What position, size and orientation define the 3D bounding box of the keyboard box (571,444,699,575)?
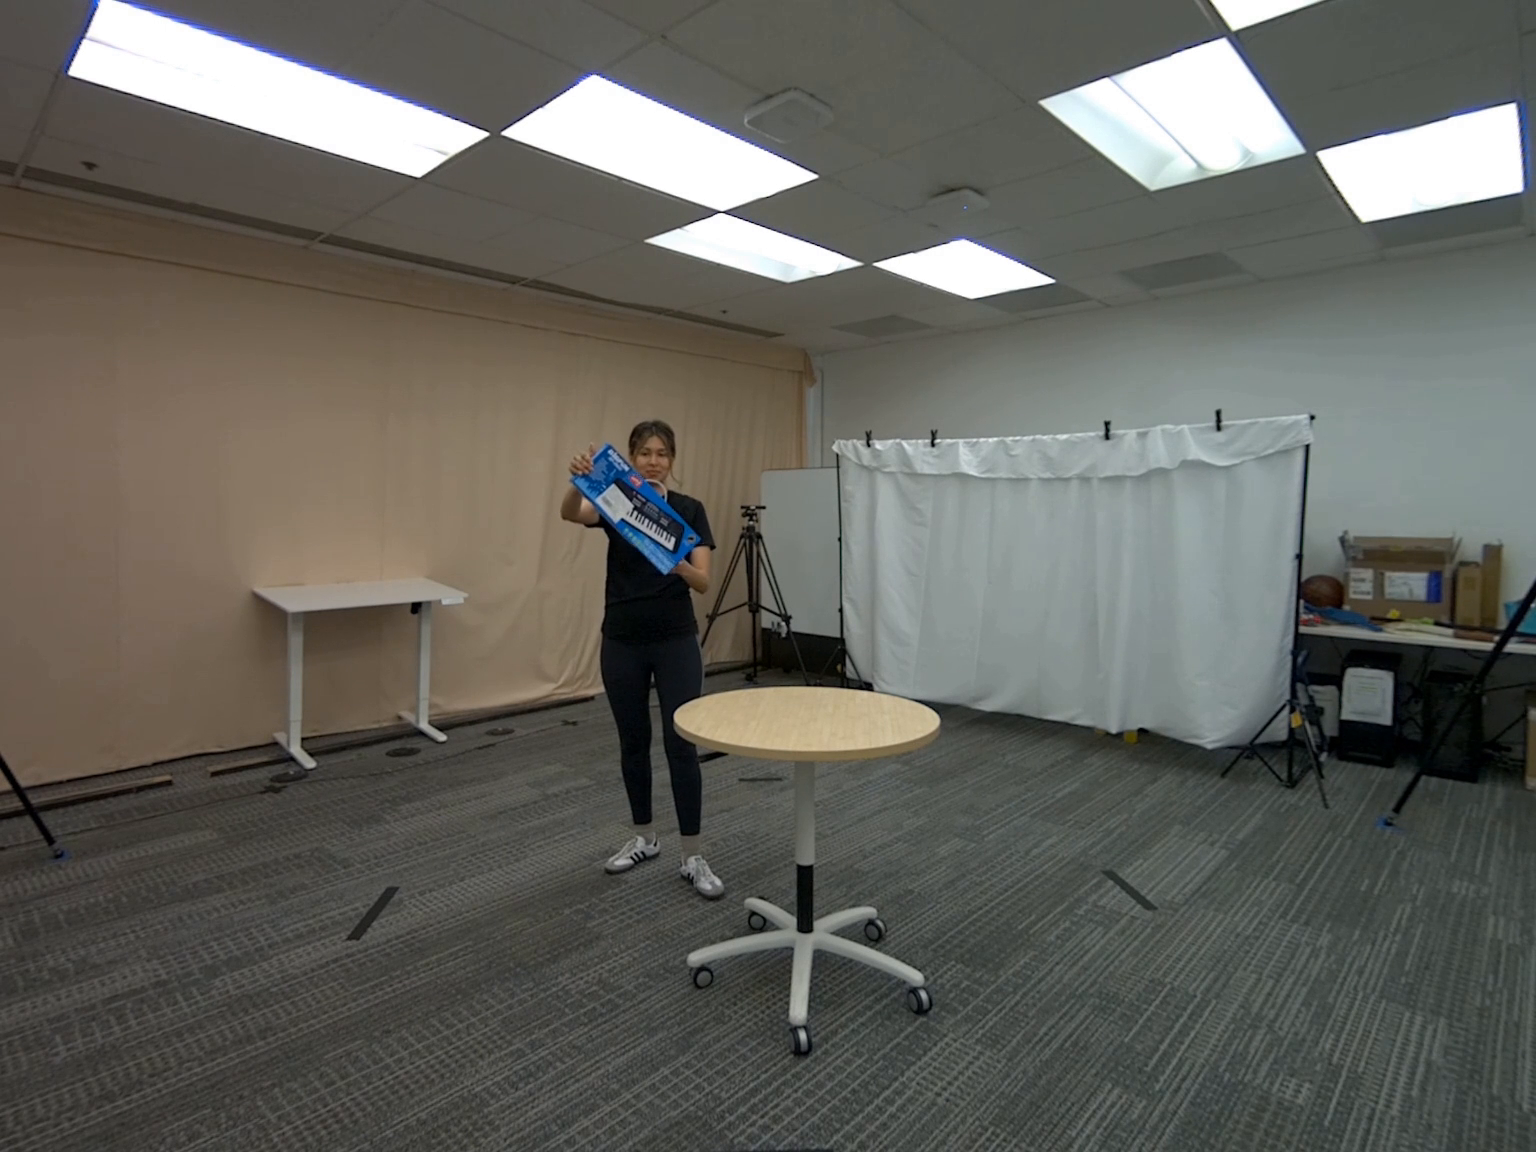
[{"bbox_3d":[-0.430,-0.209,2.740,0.175,0.427,0.060,-45,19,-6],"label":"keyboard box"}]
